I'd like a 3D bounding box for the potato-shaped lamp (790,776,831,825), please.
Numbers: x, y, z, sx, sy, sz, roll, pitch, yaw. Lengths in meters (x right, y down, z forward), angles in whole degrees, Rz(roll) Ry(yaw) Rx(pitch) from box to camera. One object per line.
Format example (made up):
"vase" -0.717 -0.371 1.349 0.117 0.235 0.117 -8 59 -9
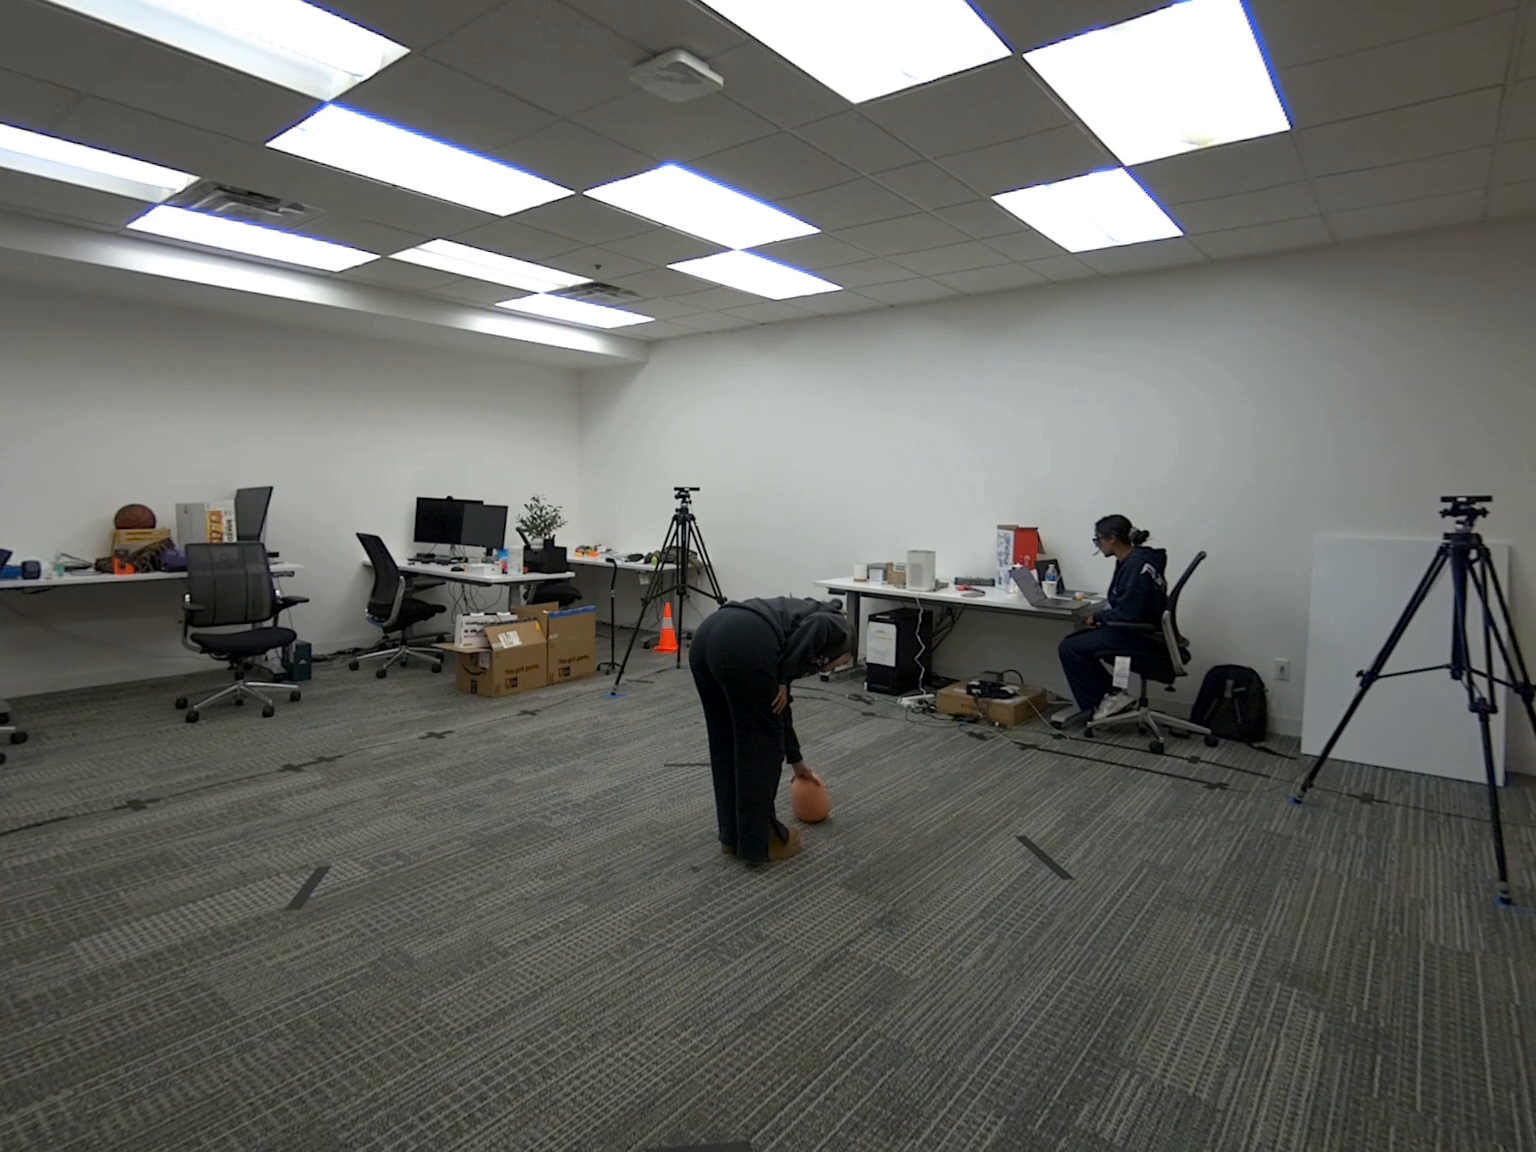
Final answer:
"potato-shaped lamp" 0.178 0.927 3.602 0.169 0.195 0.168 0 15 34
